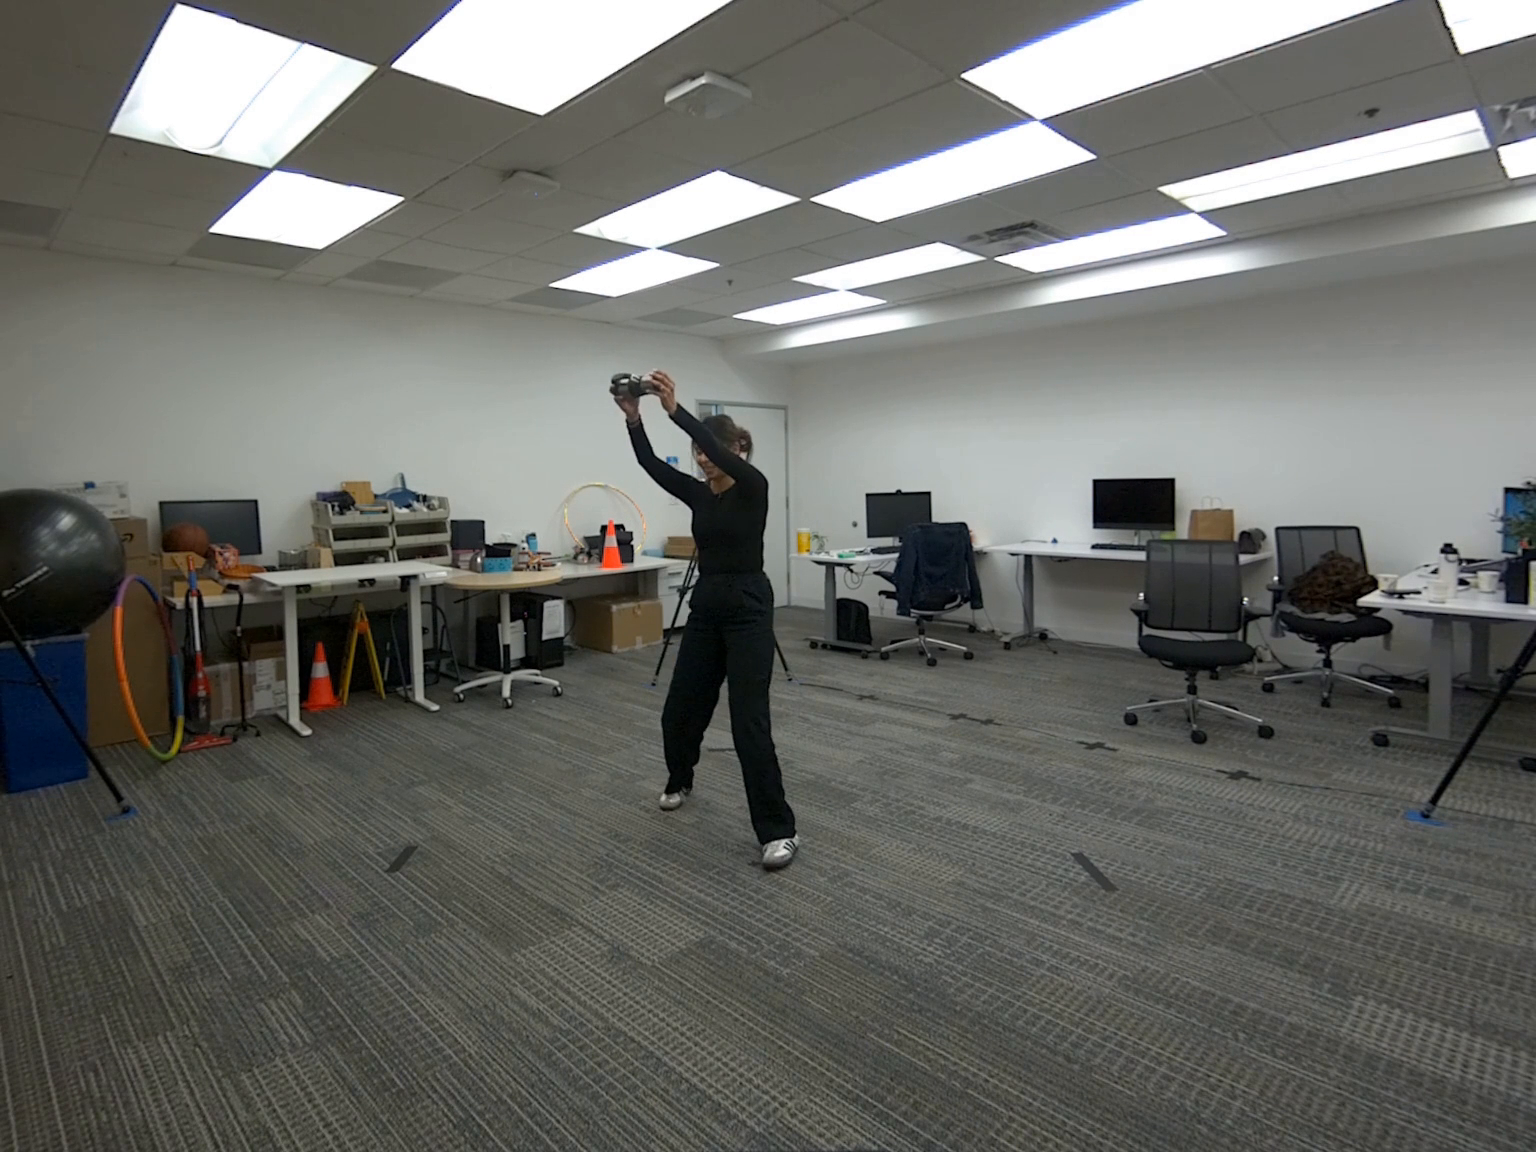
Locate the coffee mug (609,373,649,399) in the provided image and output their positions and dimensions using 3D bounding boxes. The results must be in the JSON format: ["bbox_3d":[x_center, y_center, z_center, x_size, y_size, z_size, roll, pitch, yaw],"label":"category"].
[{"bbox_3d":[-0.467,-0.679,3.006,0.209,0.088,0.118,5,3,45],"label":"coffee mug"}]
